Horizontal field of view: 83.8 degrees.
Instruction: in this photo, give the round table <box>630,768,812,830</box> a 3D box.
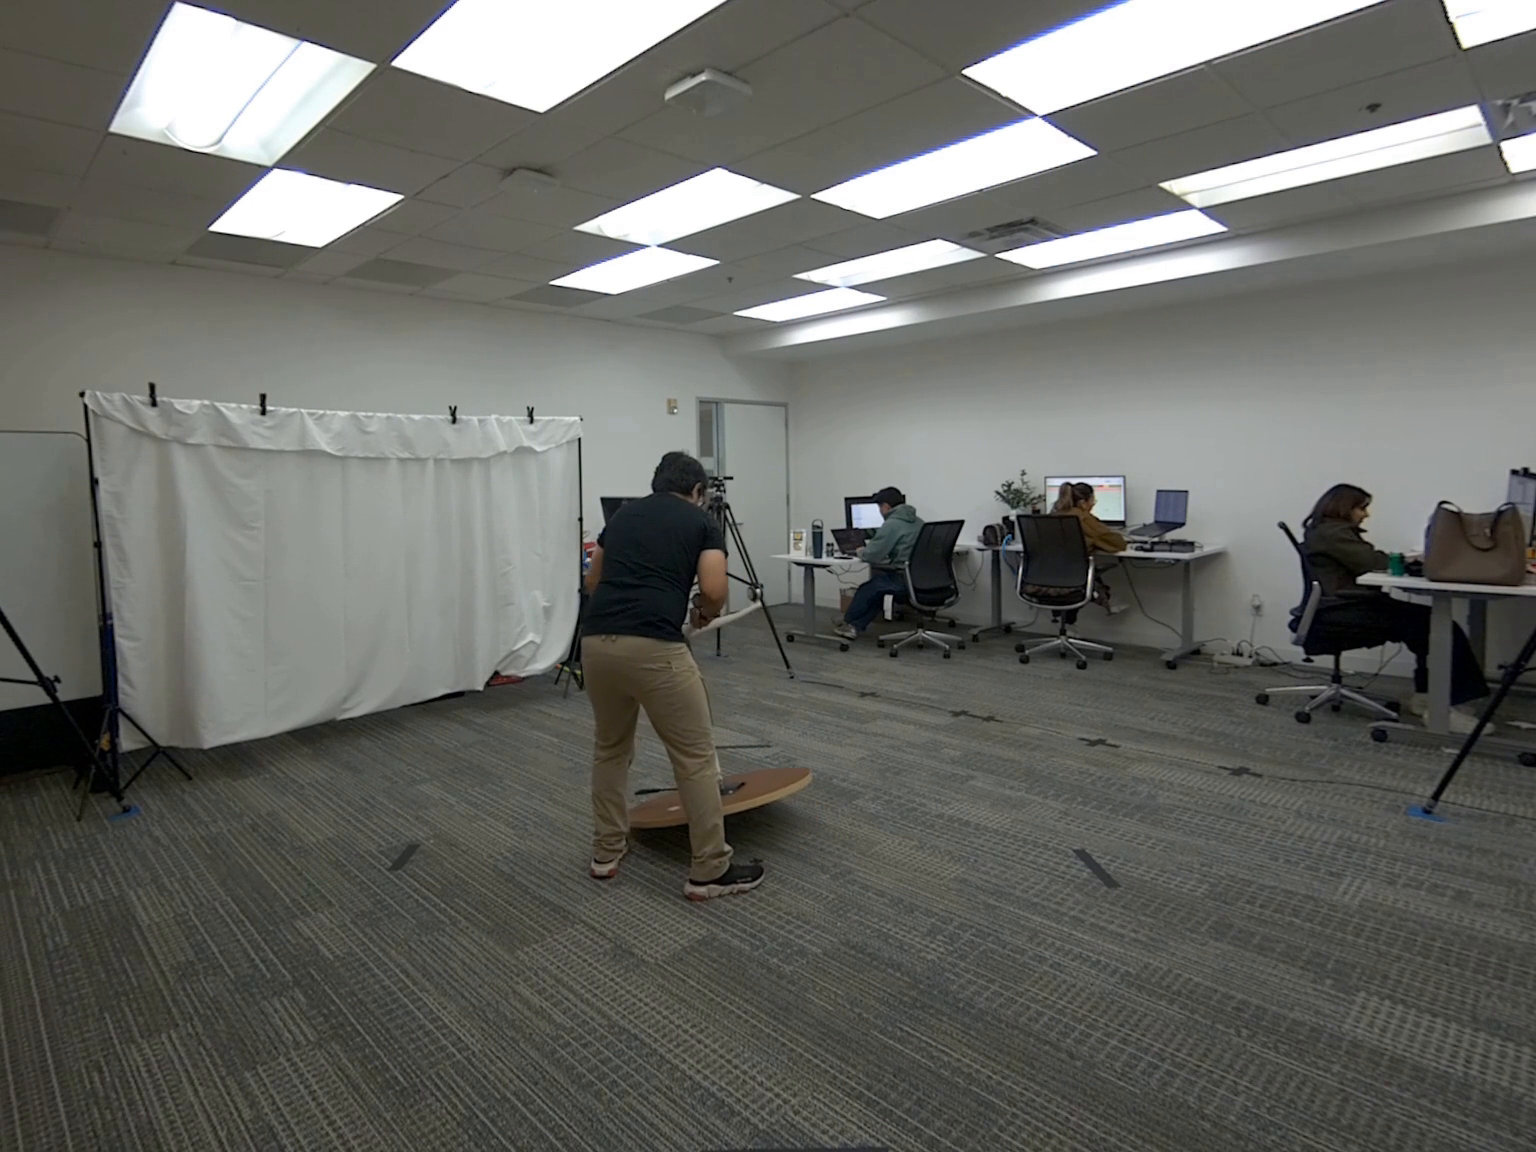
[{"bbox_3d":[-0.281,0.511,3.505,0.784,0.792,0.781,-13,-6,-3],"label":"round table"}]
